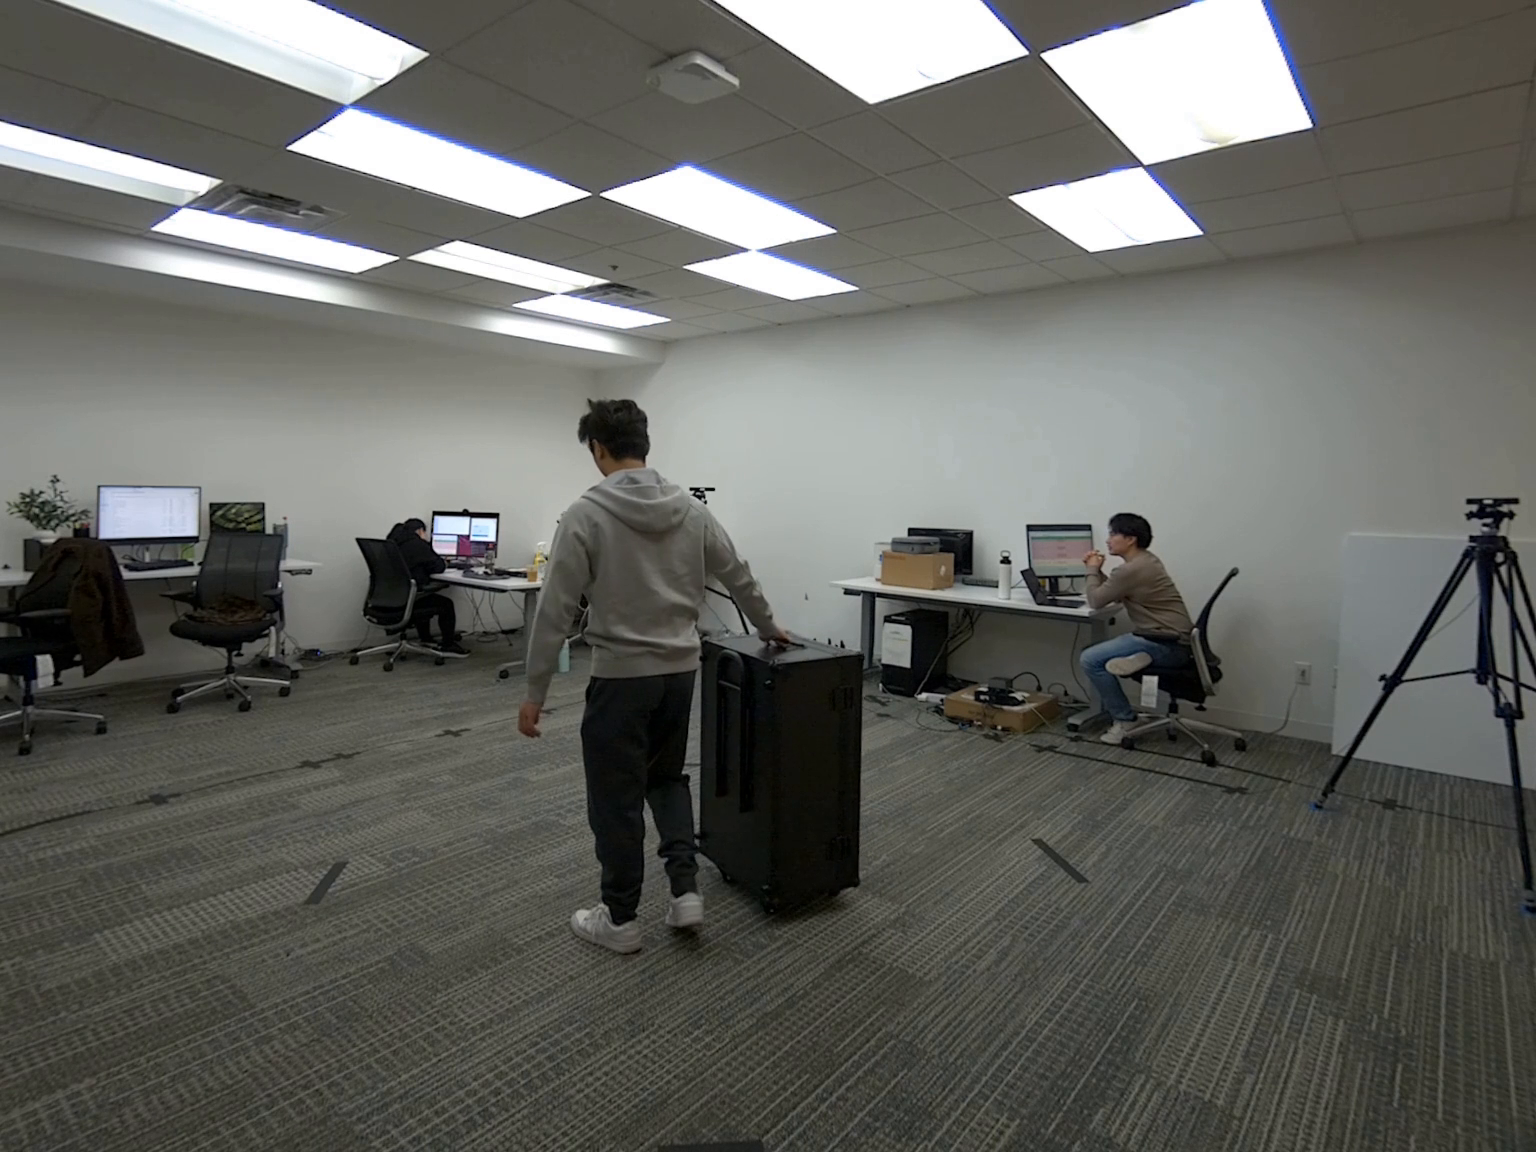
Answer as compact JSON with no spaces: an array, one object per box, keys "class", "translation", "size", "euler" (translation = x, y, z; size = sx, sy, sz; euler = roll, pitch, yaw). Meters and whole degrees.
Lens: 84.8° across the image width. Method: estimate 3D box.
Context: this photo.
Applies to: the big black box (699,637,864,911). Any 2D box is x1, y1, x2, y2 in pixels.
[{"class":"big black box","translation":[0.021,0.662,2.936],"size":[0.386,0.858,0.537],"euler":[-2,5,-31]}]
